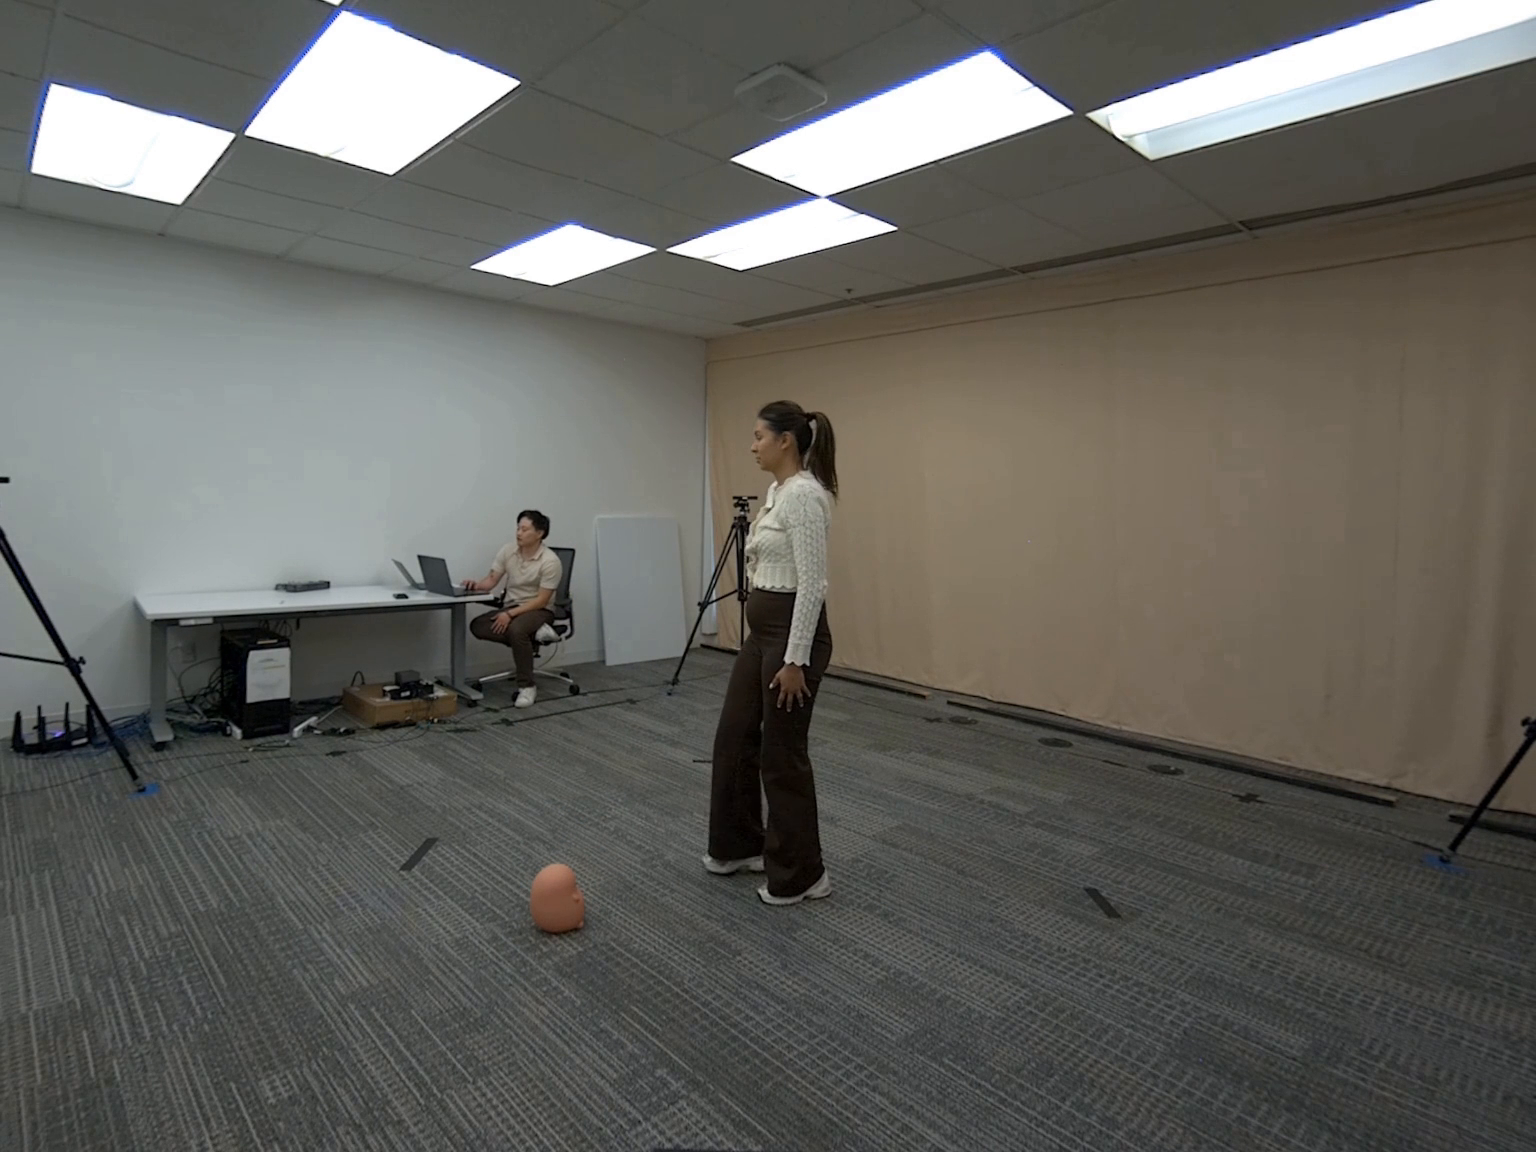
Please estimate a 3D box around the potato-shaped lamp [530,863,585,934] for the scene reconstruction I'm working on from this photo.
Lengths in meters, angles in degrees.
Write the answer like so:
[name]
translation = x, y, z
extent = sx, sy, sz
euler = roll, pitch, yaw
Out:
[potato-shaped lamp]
translation = -0.684, 1.030, 2.705
extent = 0.169, 0.197, 0.168
euler = -2, 5, -21
